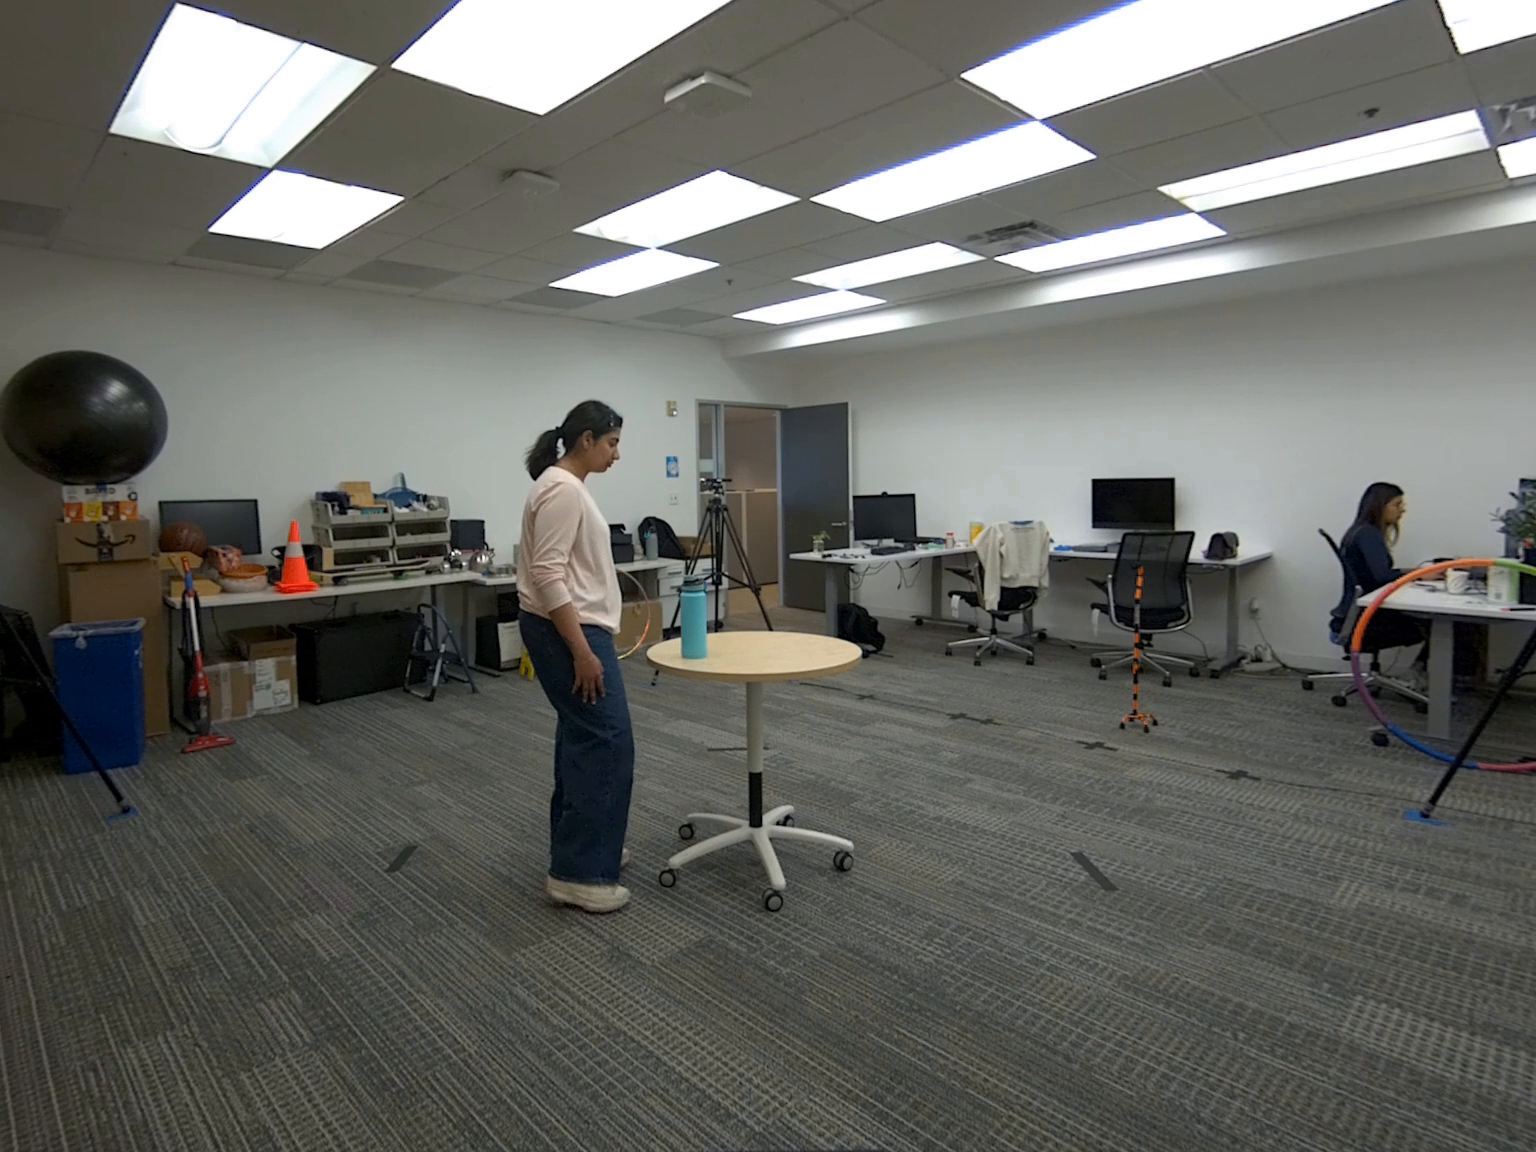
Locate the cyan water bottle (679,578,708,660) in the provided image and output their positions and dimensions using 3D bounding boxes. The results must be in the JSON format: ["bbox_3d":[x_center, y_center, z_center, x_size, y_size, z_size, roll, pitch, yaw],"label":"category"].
[{"bbox_3d":[-0.257,0.139,2.948,0.092,0.283,0.092,0,3,-2],"label":"cyan water bottle"}]
